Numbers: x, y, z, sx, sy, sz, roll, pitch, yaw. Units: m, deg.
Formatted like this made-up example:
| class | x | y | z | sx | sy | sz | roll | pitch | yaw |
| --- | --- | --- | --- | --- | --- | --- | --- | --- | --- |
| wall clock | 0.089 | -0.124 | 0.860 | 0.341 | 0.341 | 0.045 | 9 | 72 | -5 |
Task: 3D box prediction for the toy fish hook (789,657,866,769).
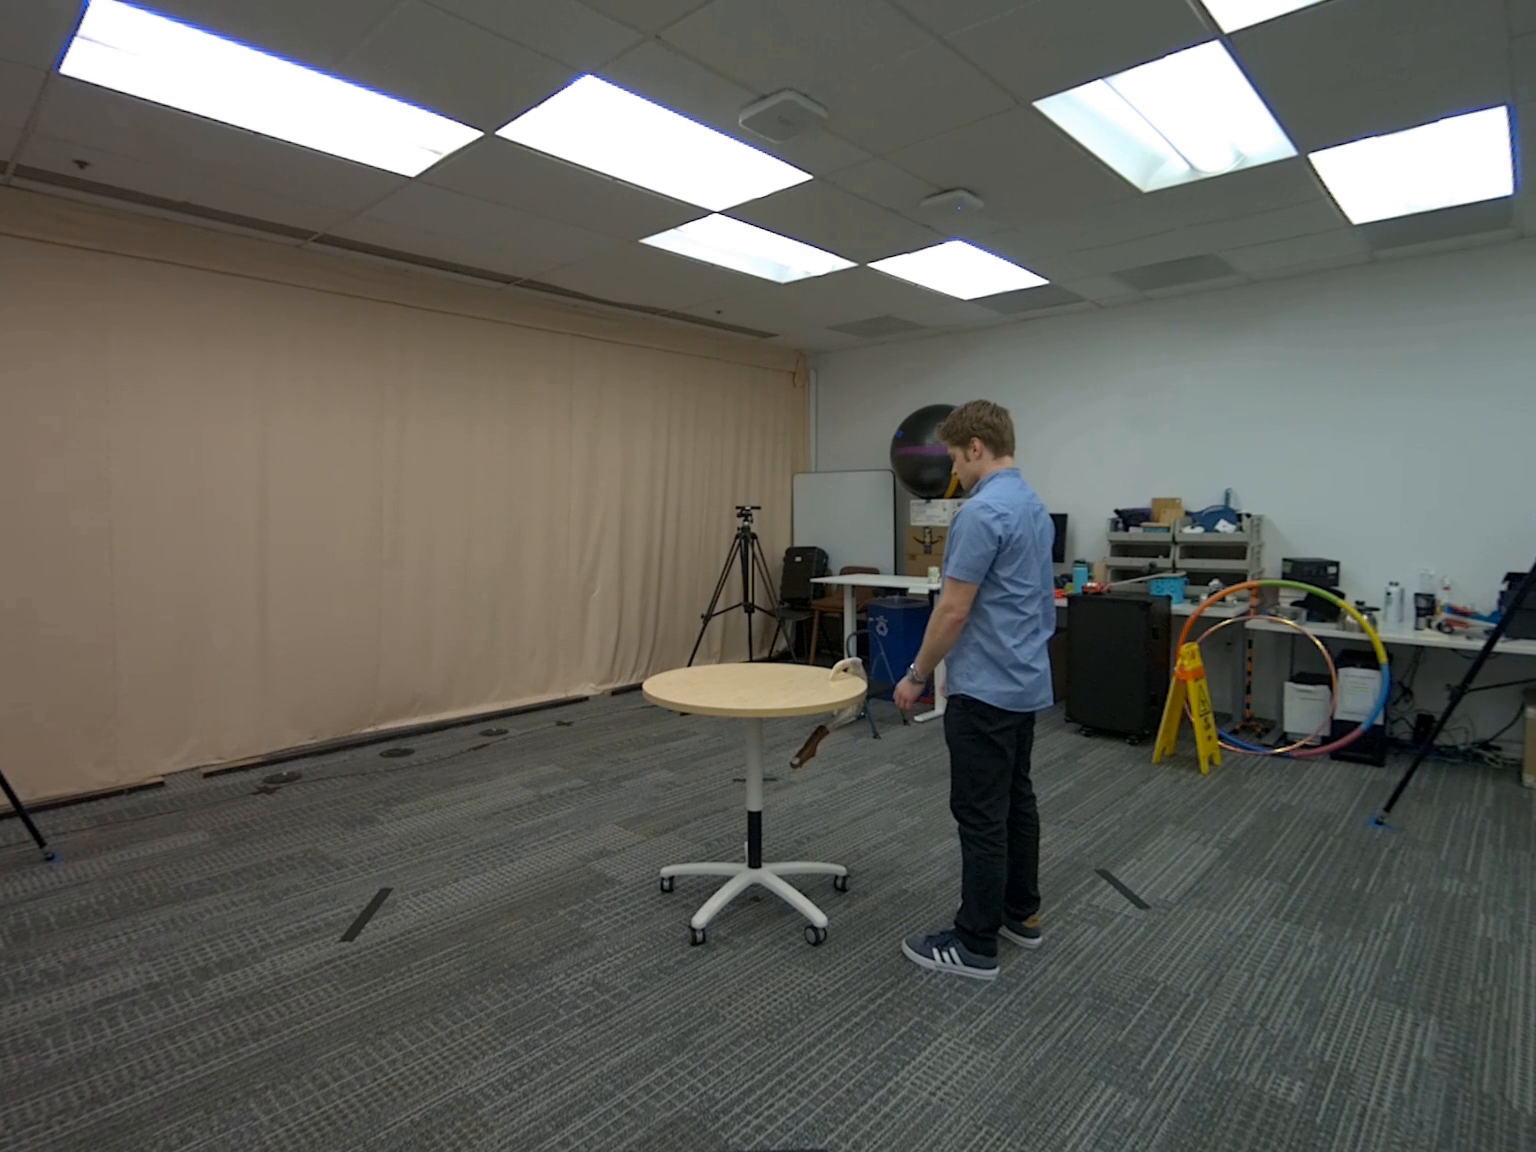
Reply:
| class | x | y | z | sx | sy | sz | roll | pitch | yaw |
| --- | --- | --- | --- | --- | --- | --- | --- | --- | --- |
| toy fish hook | 0.216 | 0.466 | 2.914 | 0.050 | 0.221 | 0.499 | -5 | 24 | 43 |
